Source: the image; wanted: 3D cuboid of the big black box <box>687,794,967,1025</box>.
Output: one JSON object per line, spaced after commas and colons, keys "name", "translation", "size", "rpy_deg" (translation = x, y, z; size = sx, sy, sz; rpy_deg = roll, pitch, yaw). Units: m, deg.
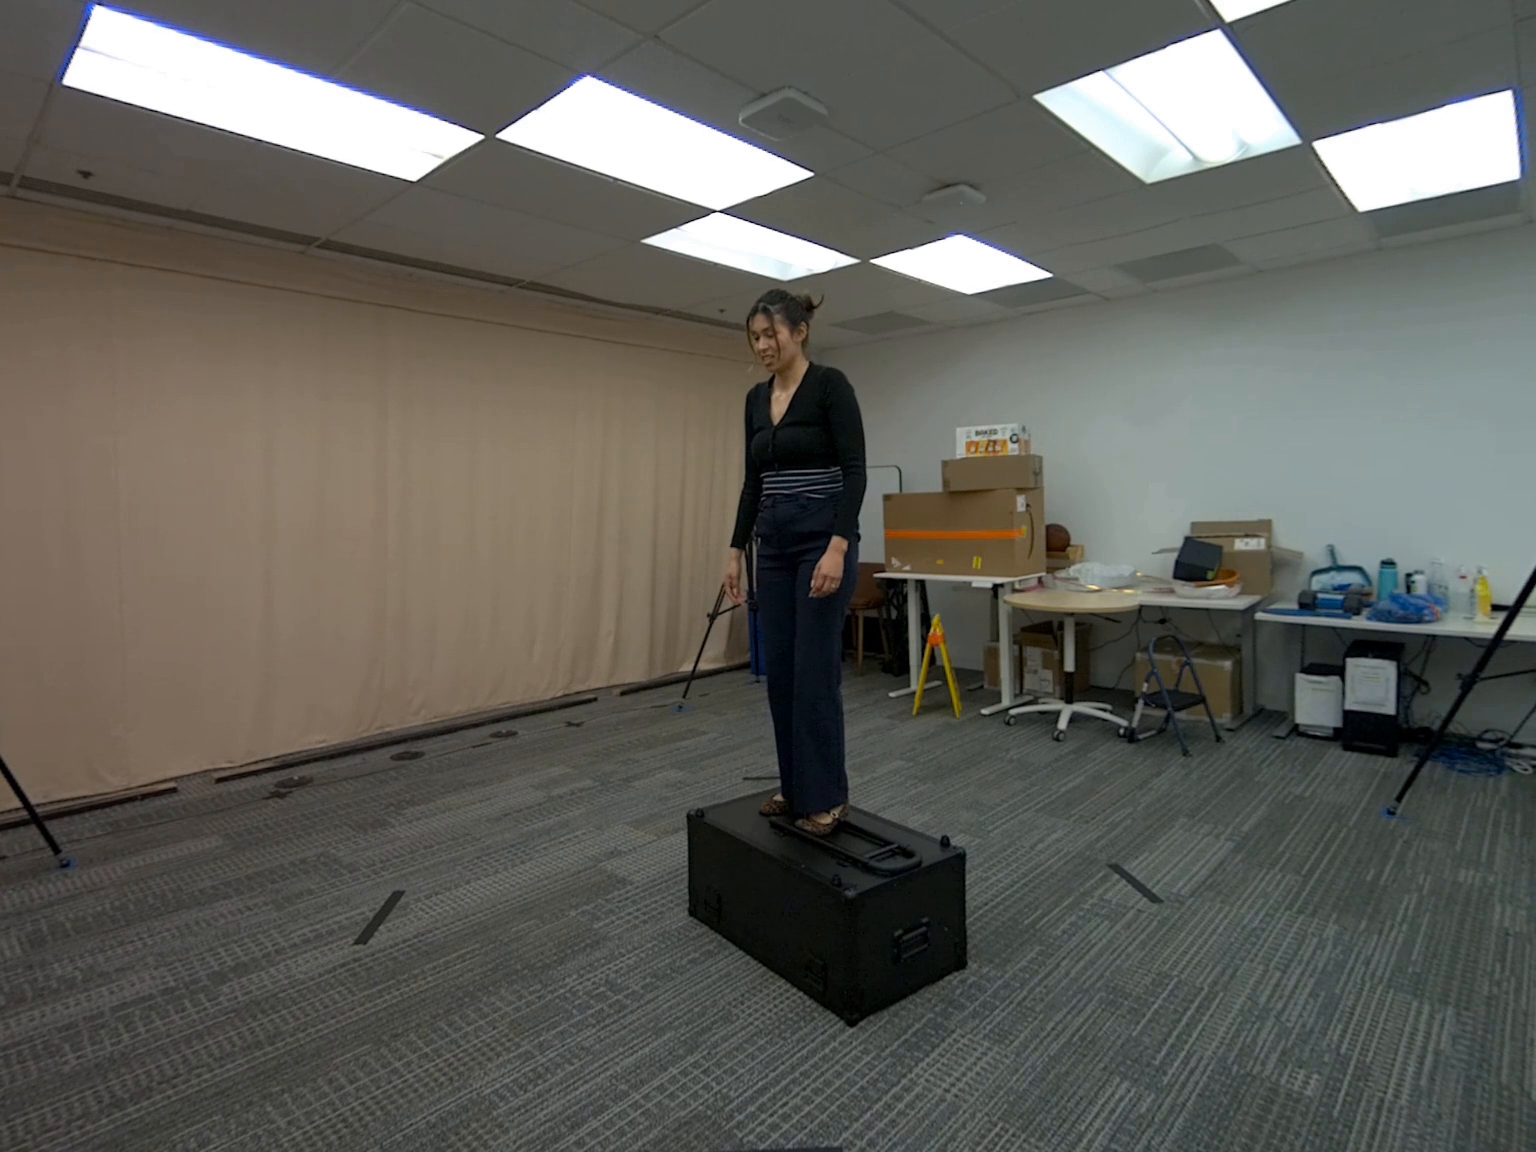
{"name": "big black box", "translation": [0.183, 0.992, 2.654], "size": [0.506, 0.395, 0.889], "rpy_deg": [-4, 5, -37]}
